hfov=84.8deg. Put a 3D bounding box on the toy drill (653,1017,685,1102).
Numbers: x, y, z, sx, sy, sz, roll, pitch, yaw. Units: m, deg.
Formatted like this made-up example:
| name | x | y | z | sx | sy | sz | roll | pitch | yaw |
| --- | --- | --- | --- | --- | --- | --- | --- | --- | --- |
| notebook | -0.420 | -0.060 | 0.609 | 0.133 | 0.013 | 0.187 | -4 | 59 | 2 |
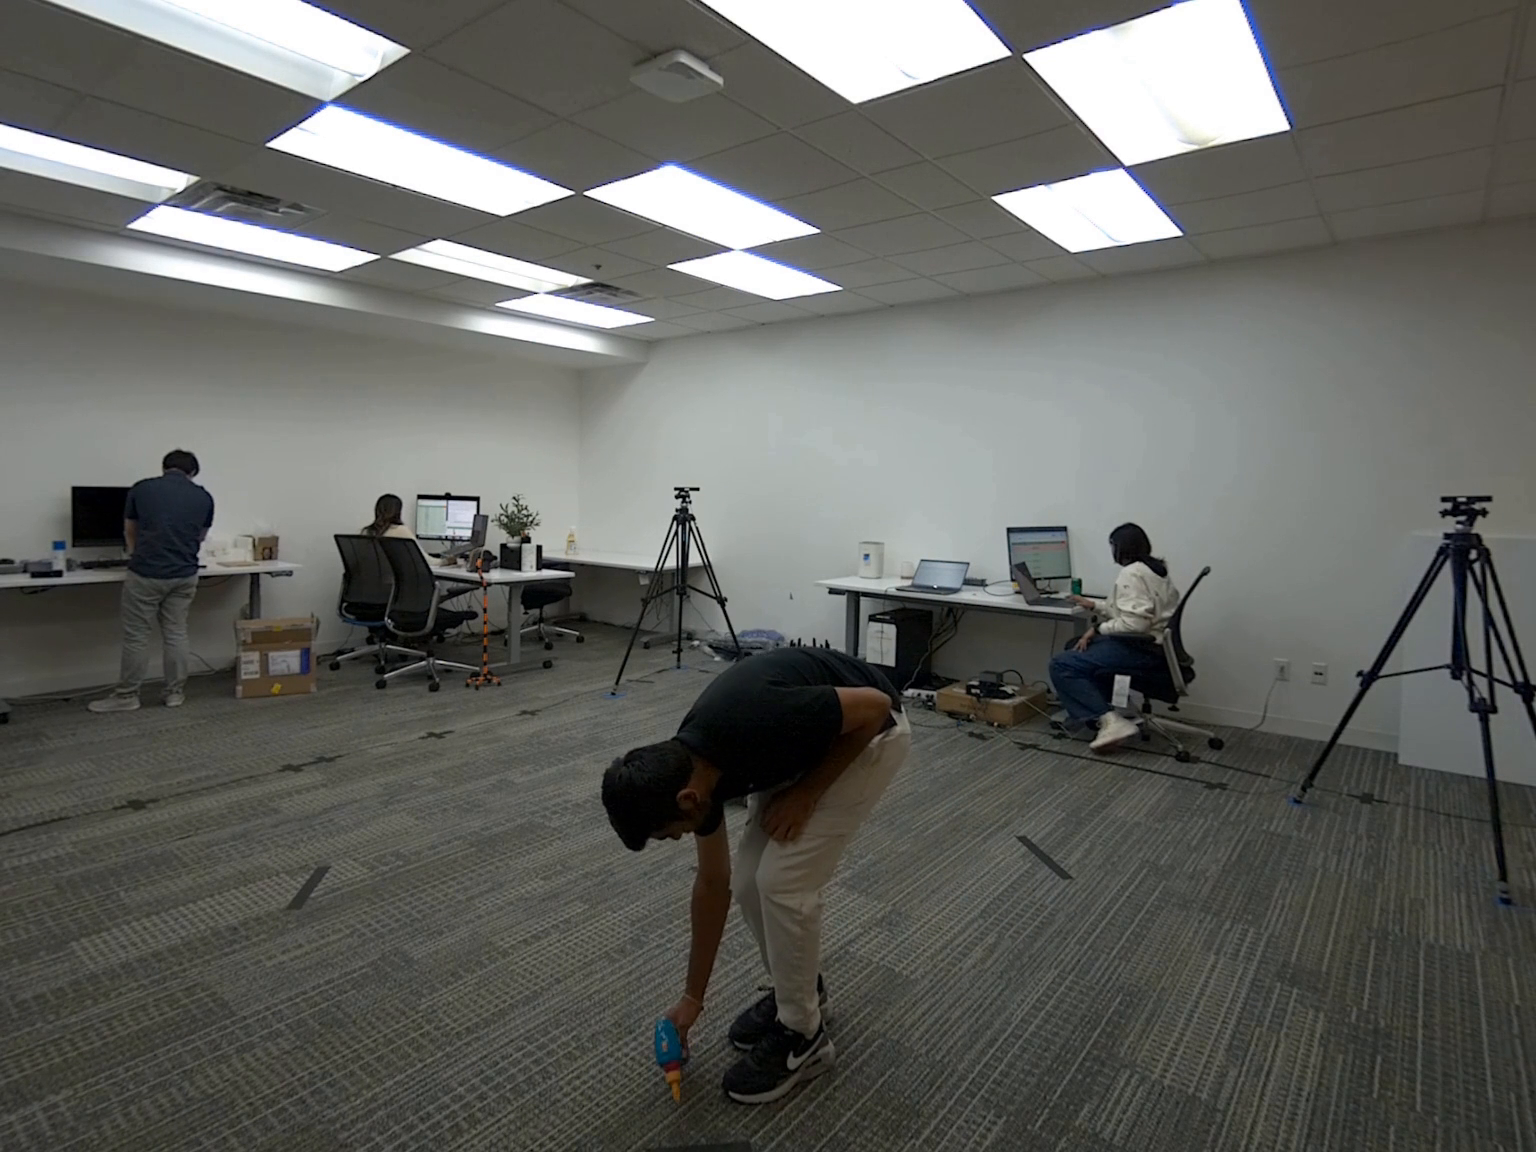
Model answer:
| name | x | y | z | sx | sy | sz | roll | pitch | yaw |
| --- | --- | --- | --- | --- | --- | --- | --- | --- | --- |
| toy drill | -0.219 | 1.100 | 1.948 | 0.061 | 0.141 | 0.176 | -17 | 39 | -1 |
